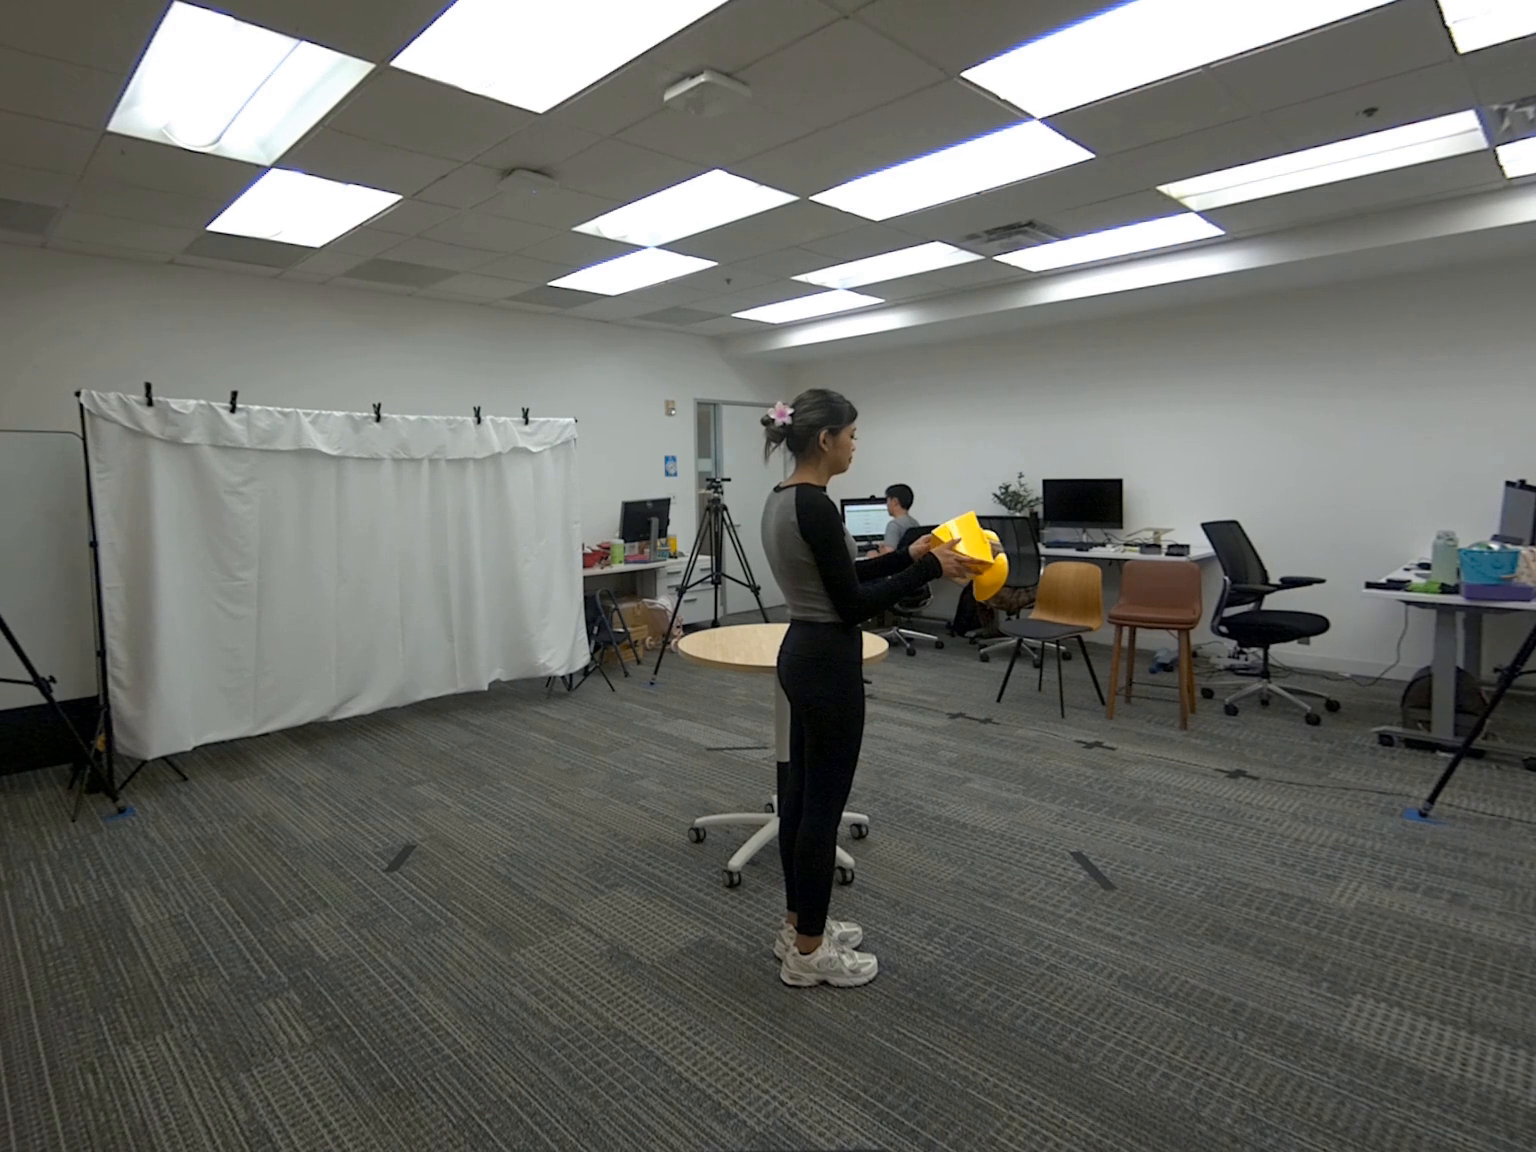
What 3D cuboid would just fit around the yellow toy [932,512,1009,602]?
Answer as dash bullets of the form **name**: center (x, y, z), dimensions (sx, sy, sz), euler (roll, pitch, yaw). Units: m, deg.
- **yellow toy**: center (0.531, -0.059, 2.418), dimensions (0.226, 0.211, 0.191), euler (12, -45, -19)
